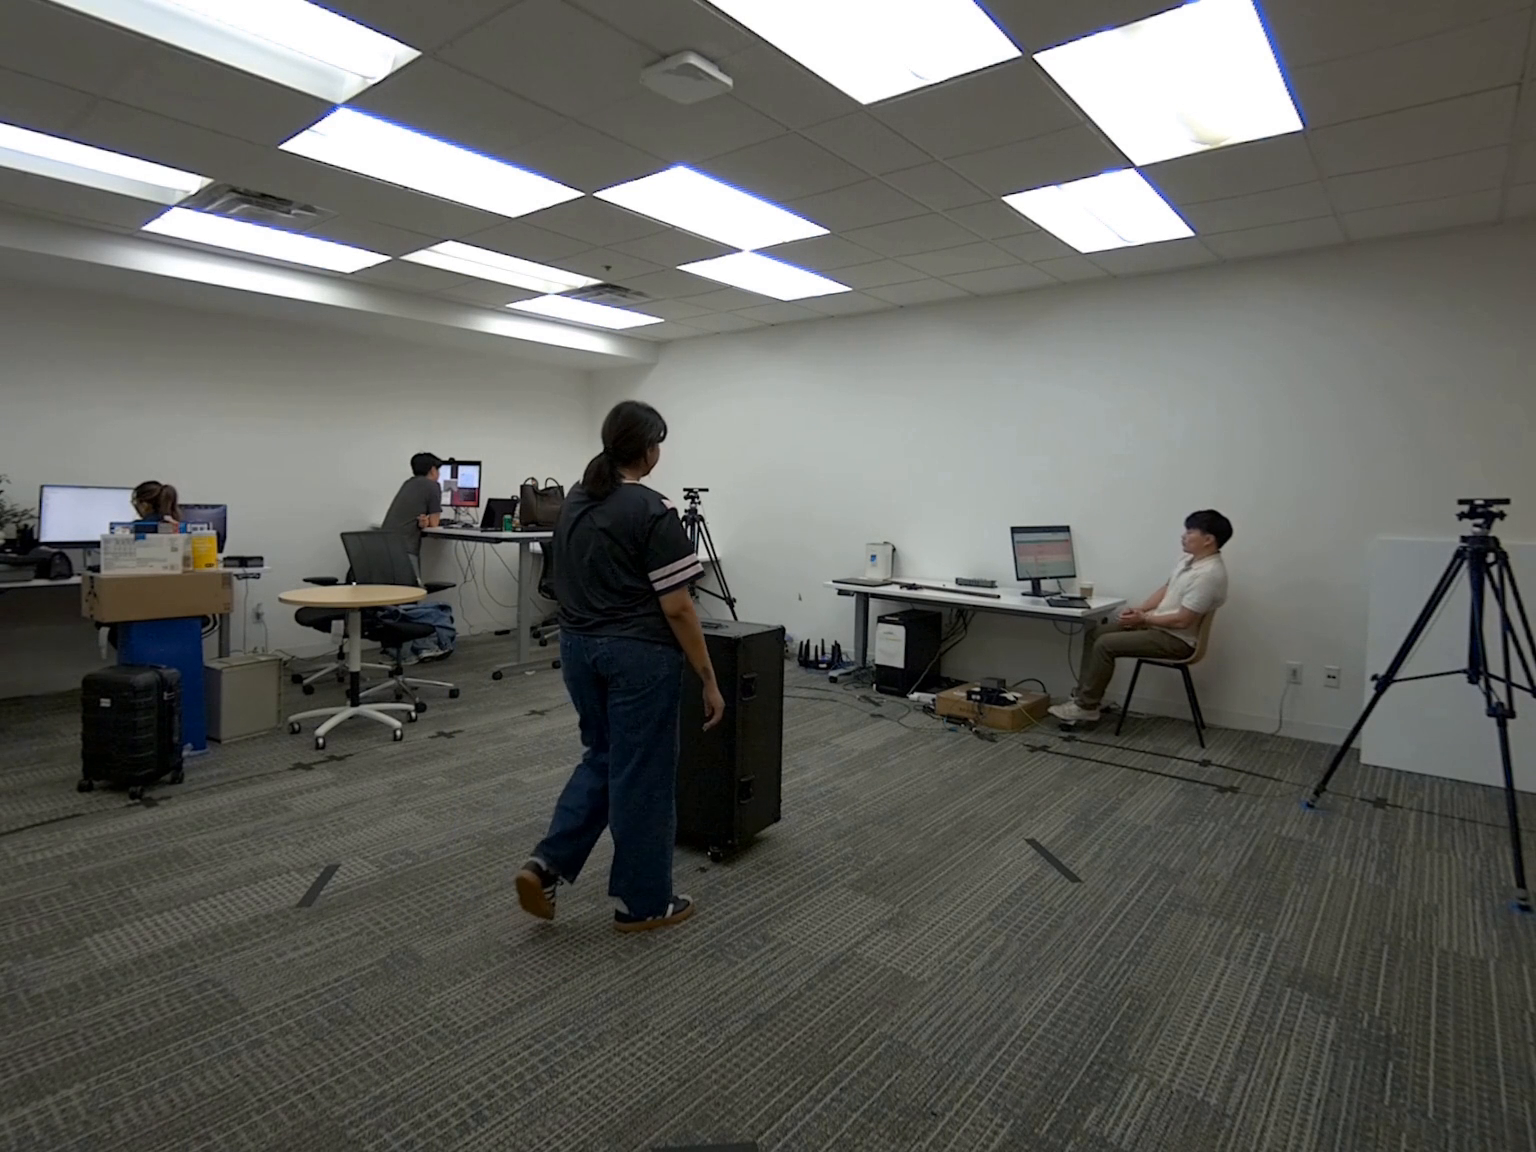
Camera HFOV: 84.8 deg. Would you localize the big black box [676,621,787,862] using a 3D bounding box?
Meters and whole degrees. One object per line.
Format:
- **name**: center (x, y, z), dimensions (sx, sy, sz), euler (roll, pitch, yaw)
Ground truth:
- **big black box**: center (-0.247, 0.619, 3.390), dimensions (0.540, 0.866, 0.374), euler (3, 3, 33)
